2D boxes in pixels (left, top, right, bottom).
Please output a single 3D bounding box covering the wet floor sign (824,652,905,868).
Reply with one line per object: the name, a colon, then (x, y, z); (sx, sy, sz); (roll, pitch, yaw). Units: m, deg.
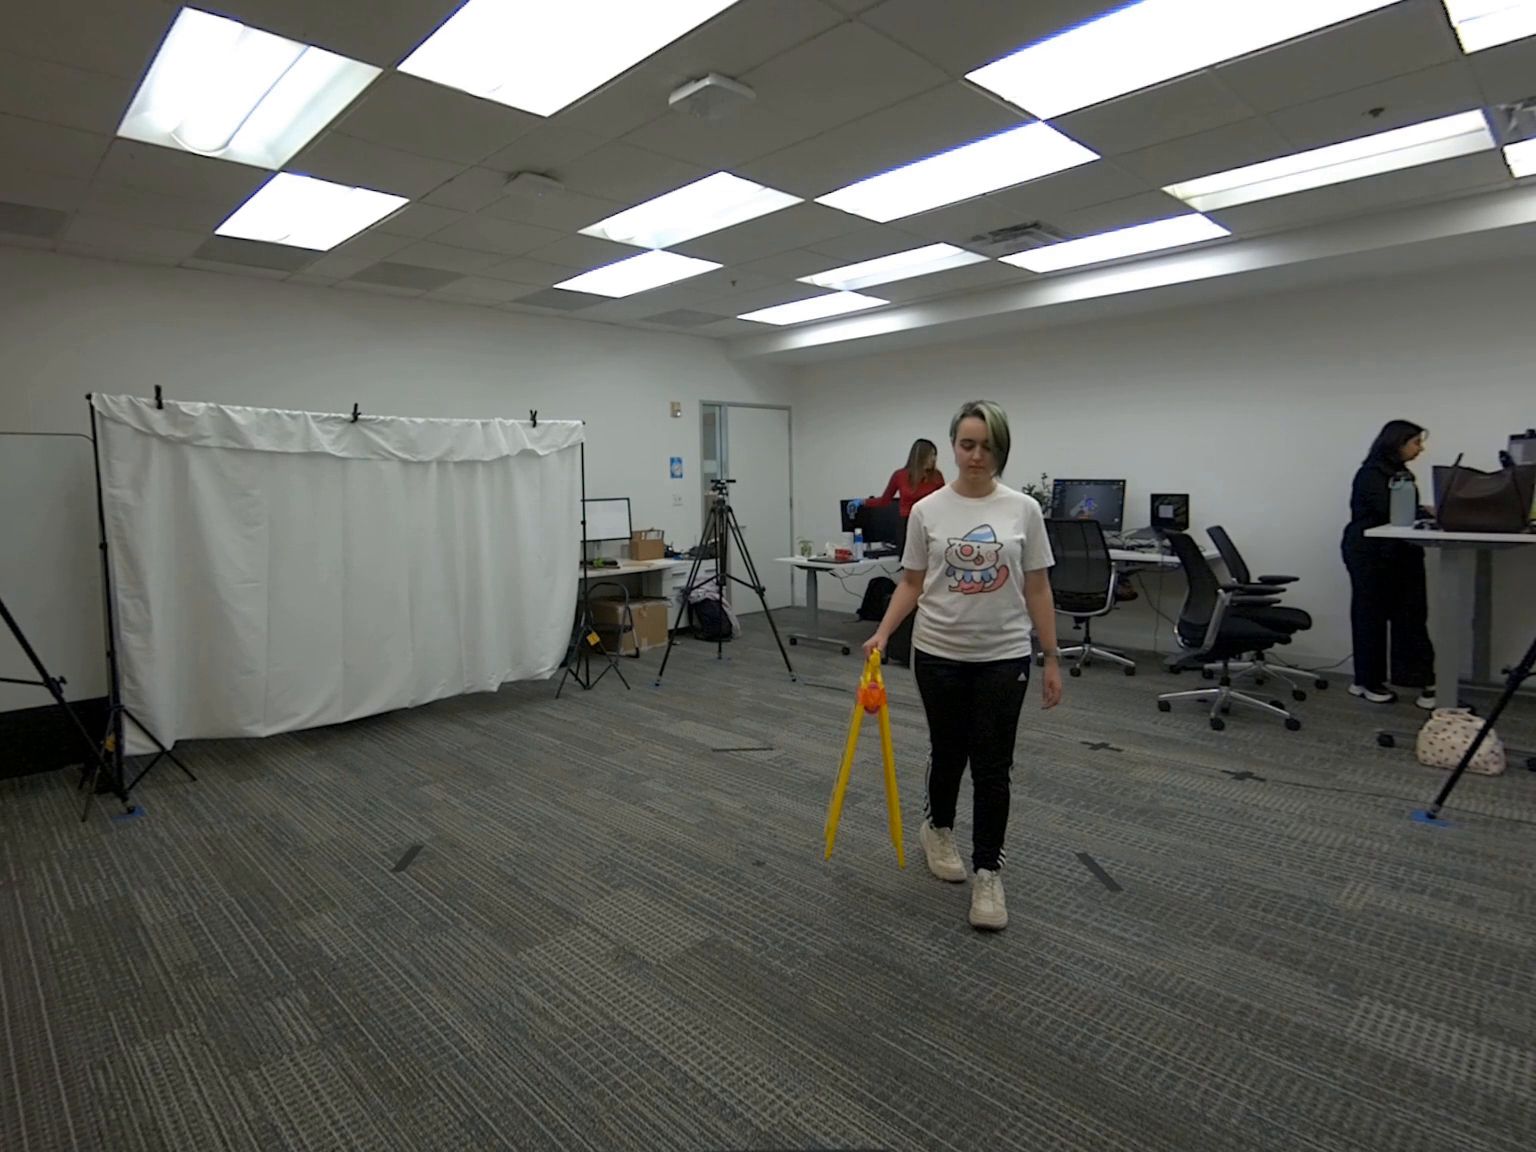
wet floor sign: (0.328, 0.560, 2.759); (0.291, 0.649, 0.279); (1, -5, 5)
